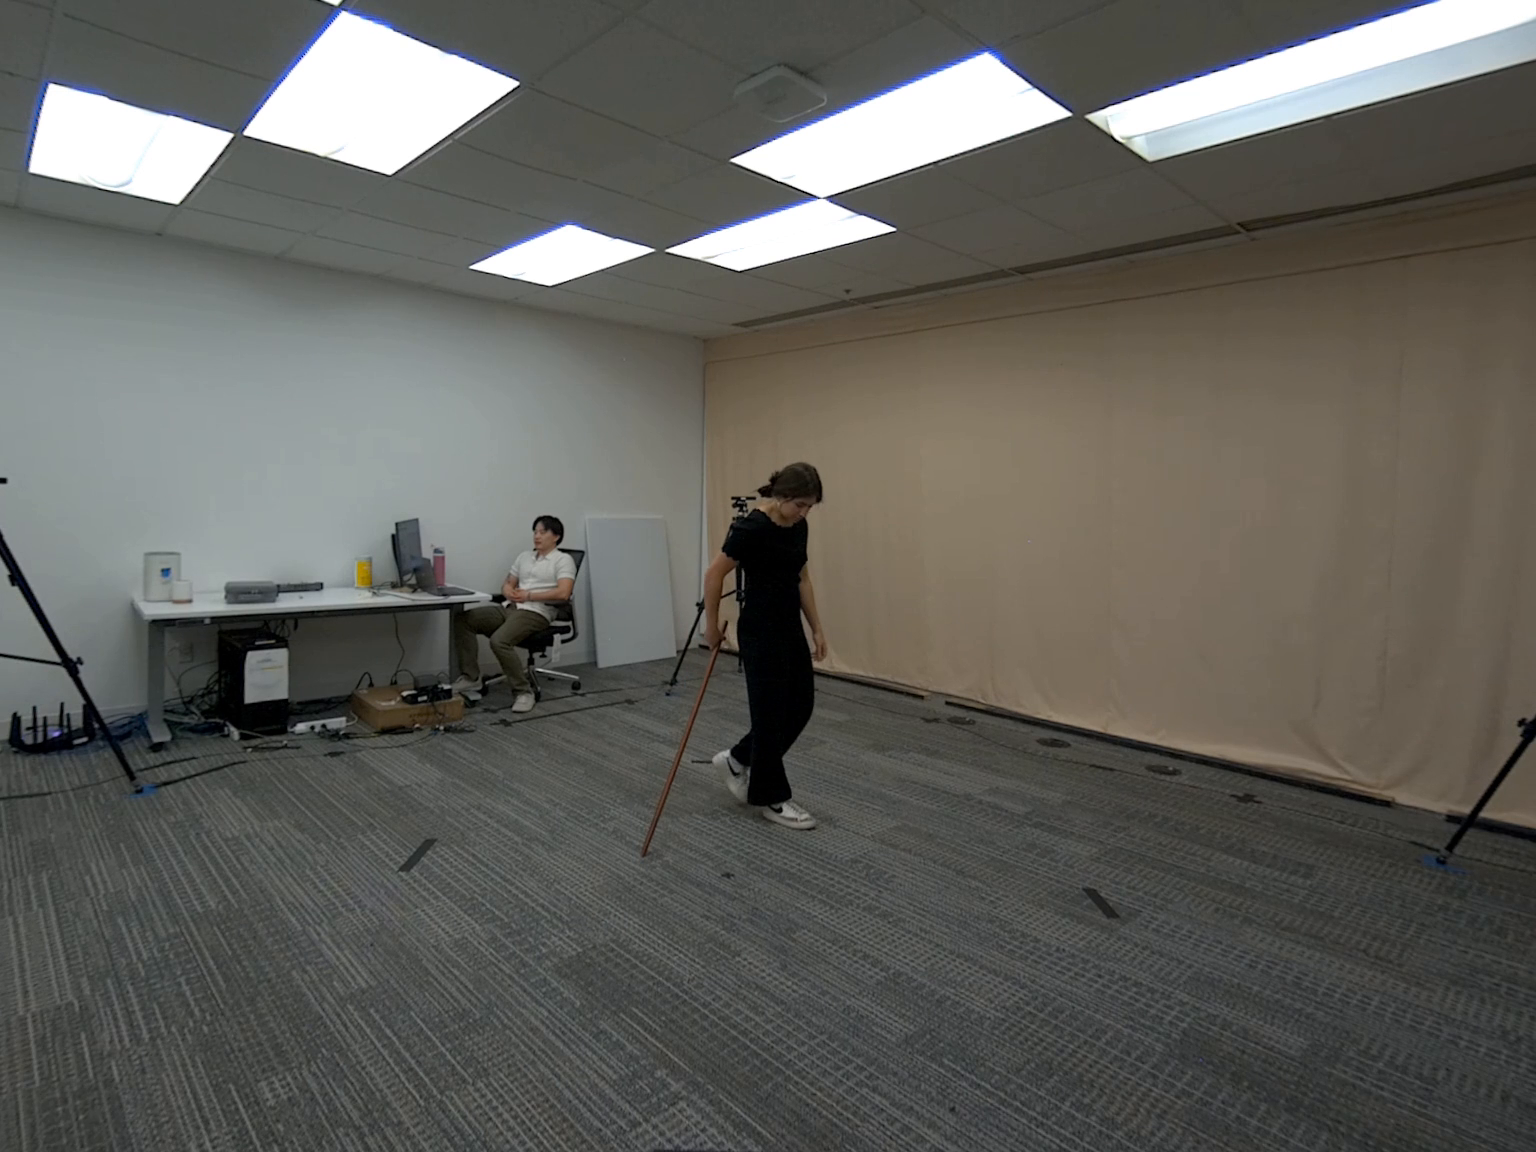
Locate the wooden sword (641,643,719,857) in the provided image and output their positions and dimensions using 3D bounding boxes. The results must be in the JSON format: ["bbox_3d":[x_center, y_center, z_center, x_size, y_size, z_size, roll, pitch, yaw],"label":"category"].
[{"bbox_3d":[-0.344,0.655,3.488,0.024,1.036,0.050,12,-29,12],"label":"wooden sword"}]
